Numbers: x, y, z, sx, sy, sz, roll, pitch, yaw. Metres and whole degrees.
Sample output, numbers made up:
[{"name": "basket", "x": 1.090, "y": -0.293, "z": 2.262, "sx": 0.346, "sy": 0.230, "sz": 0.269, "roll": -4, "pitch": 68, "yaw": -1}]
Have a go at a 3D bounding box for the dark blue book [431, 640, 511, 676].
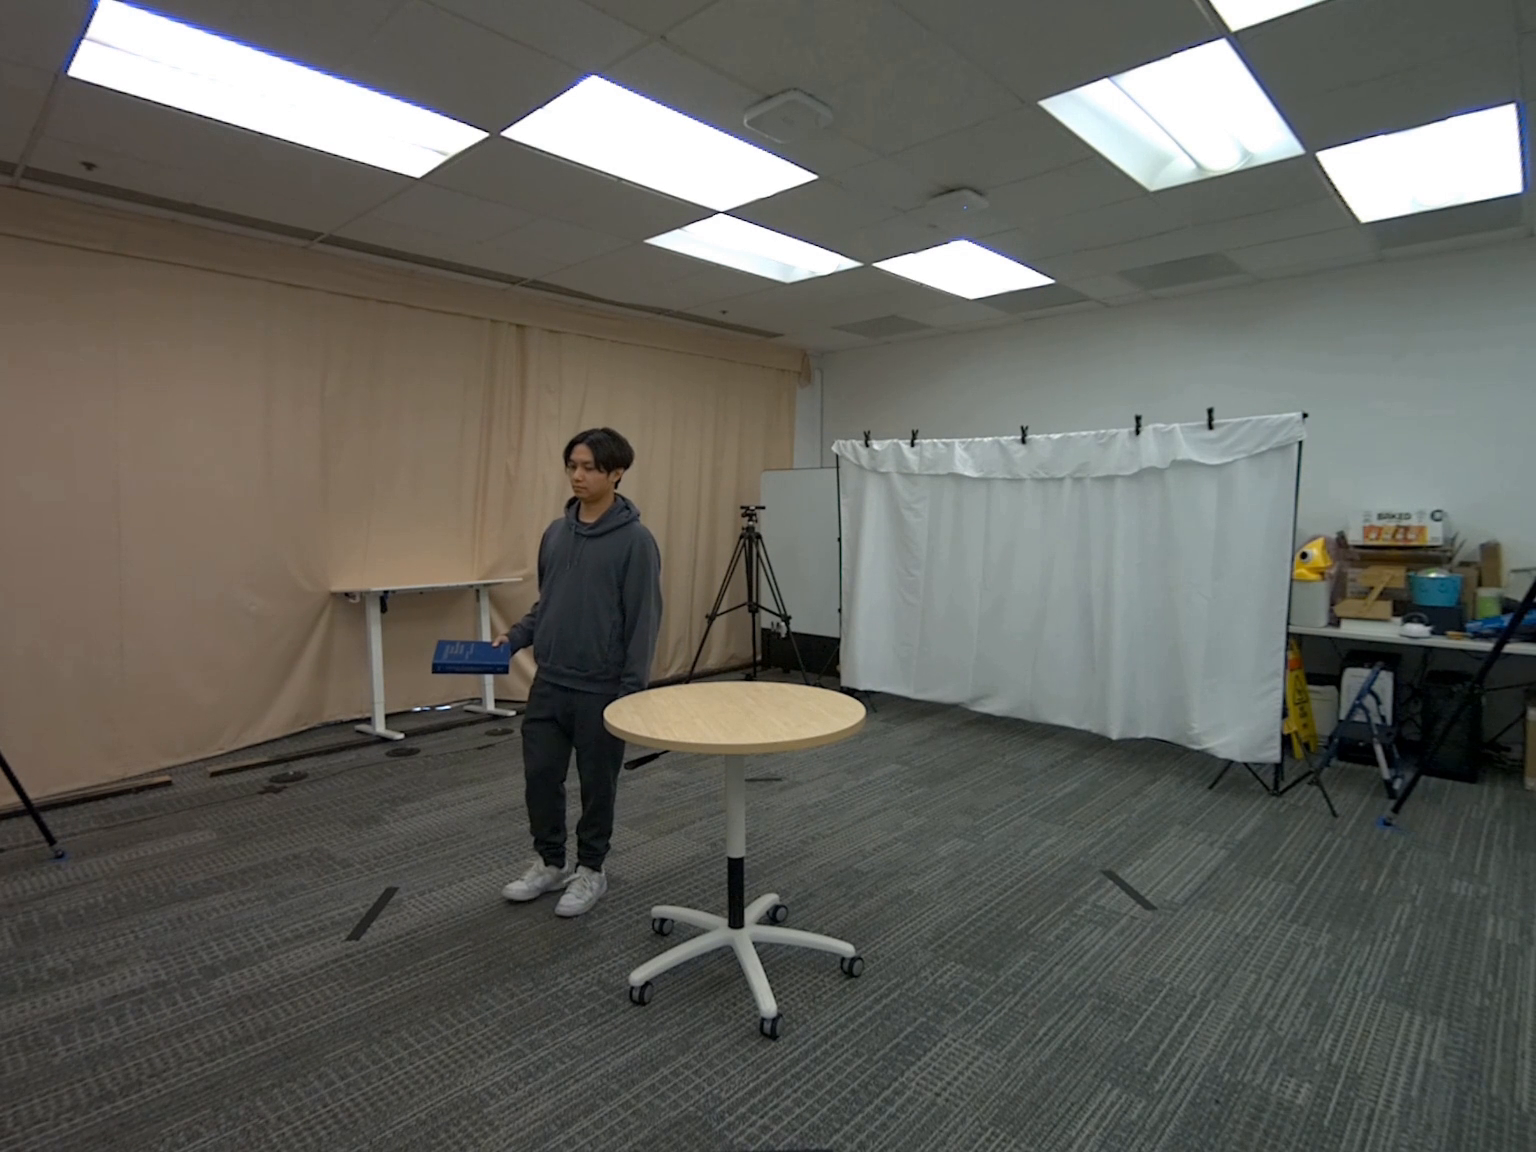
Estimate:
[{"name": "dark blue book", "x": -0.999, "y": 0.274, "z": 2.813, "sx": 0.242, "sy": 0.045, "sz": 0.167, "roll": 3, "pitch": 18, "yaw": -11}]
